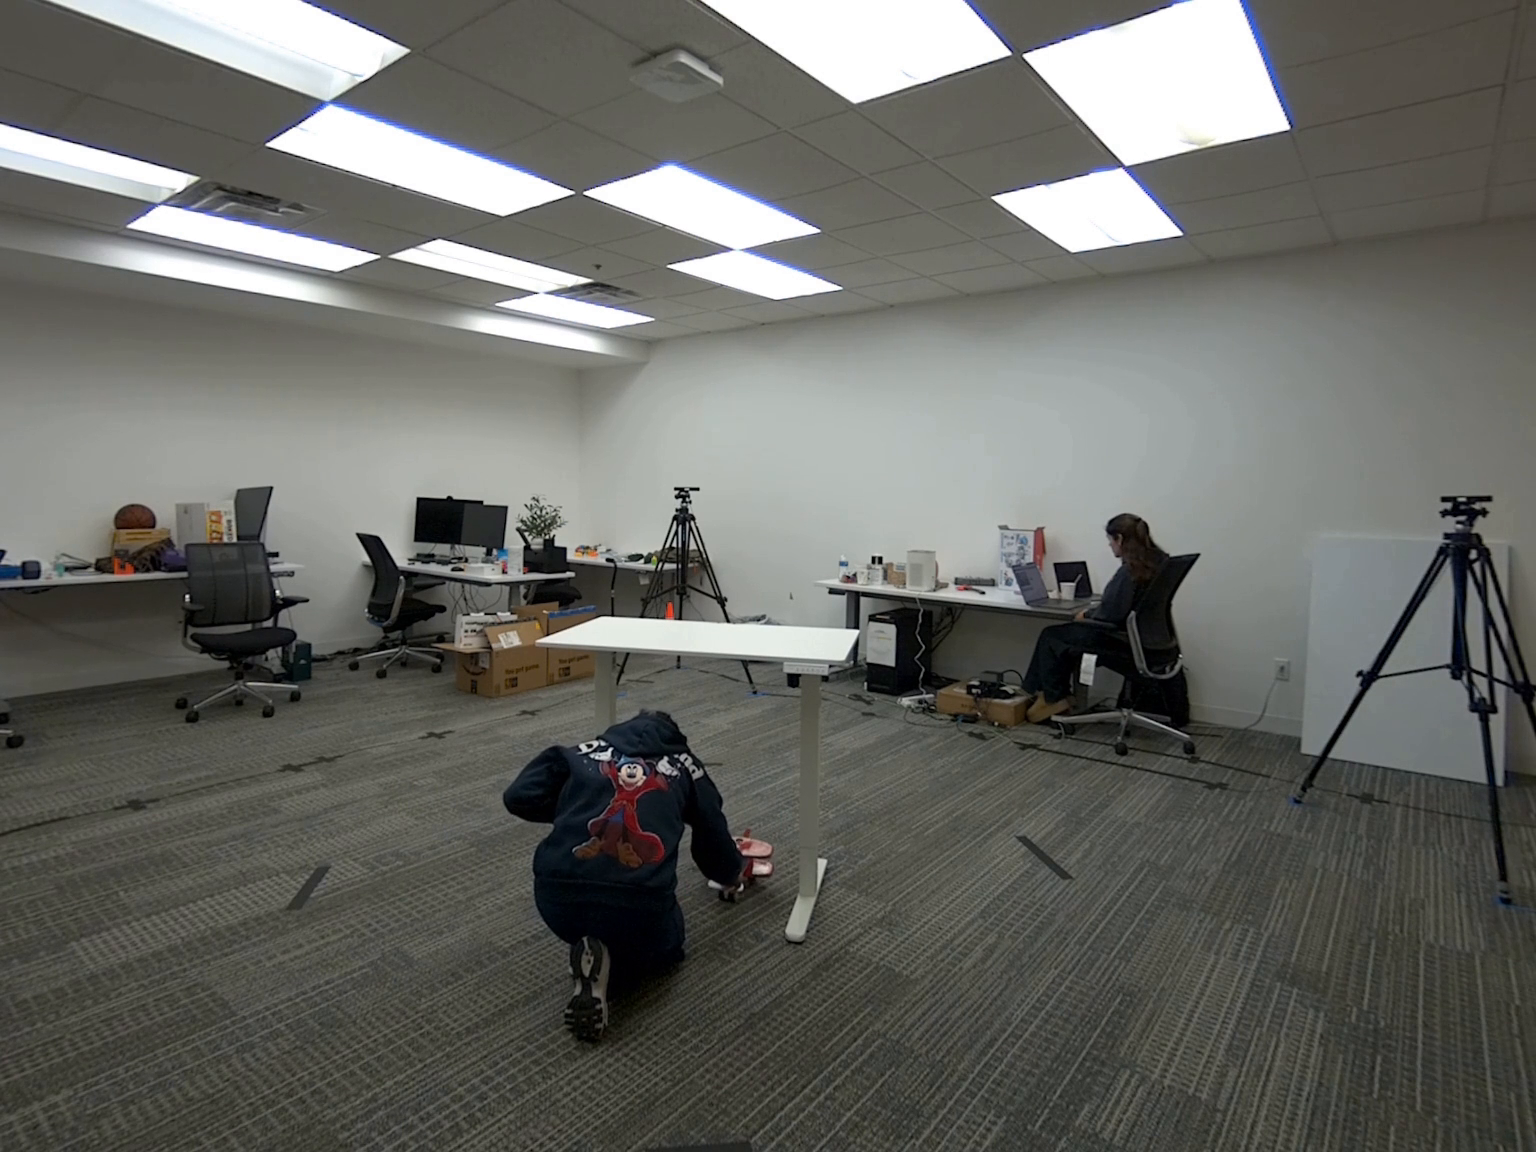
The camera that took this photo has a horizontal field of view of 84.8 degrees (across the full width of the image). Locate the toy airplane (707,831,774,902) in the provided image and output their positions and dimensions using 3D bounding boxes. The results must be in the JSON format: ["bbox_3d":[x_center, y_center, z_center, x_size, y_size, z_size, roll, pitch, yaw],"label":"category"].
[{"bbox_3d":[-0.095,1.010,2.947,0.248,0.156,0.263,-1,4,-13],"label":"toy airplane"}]
